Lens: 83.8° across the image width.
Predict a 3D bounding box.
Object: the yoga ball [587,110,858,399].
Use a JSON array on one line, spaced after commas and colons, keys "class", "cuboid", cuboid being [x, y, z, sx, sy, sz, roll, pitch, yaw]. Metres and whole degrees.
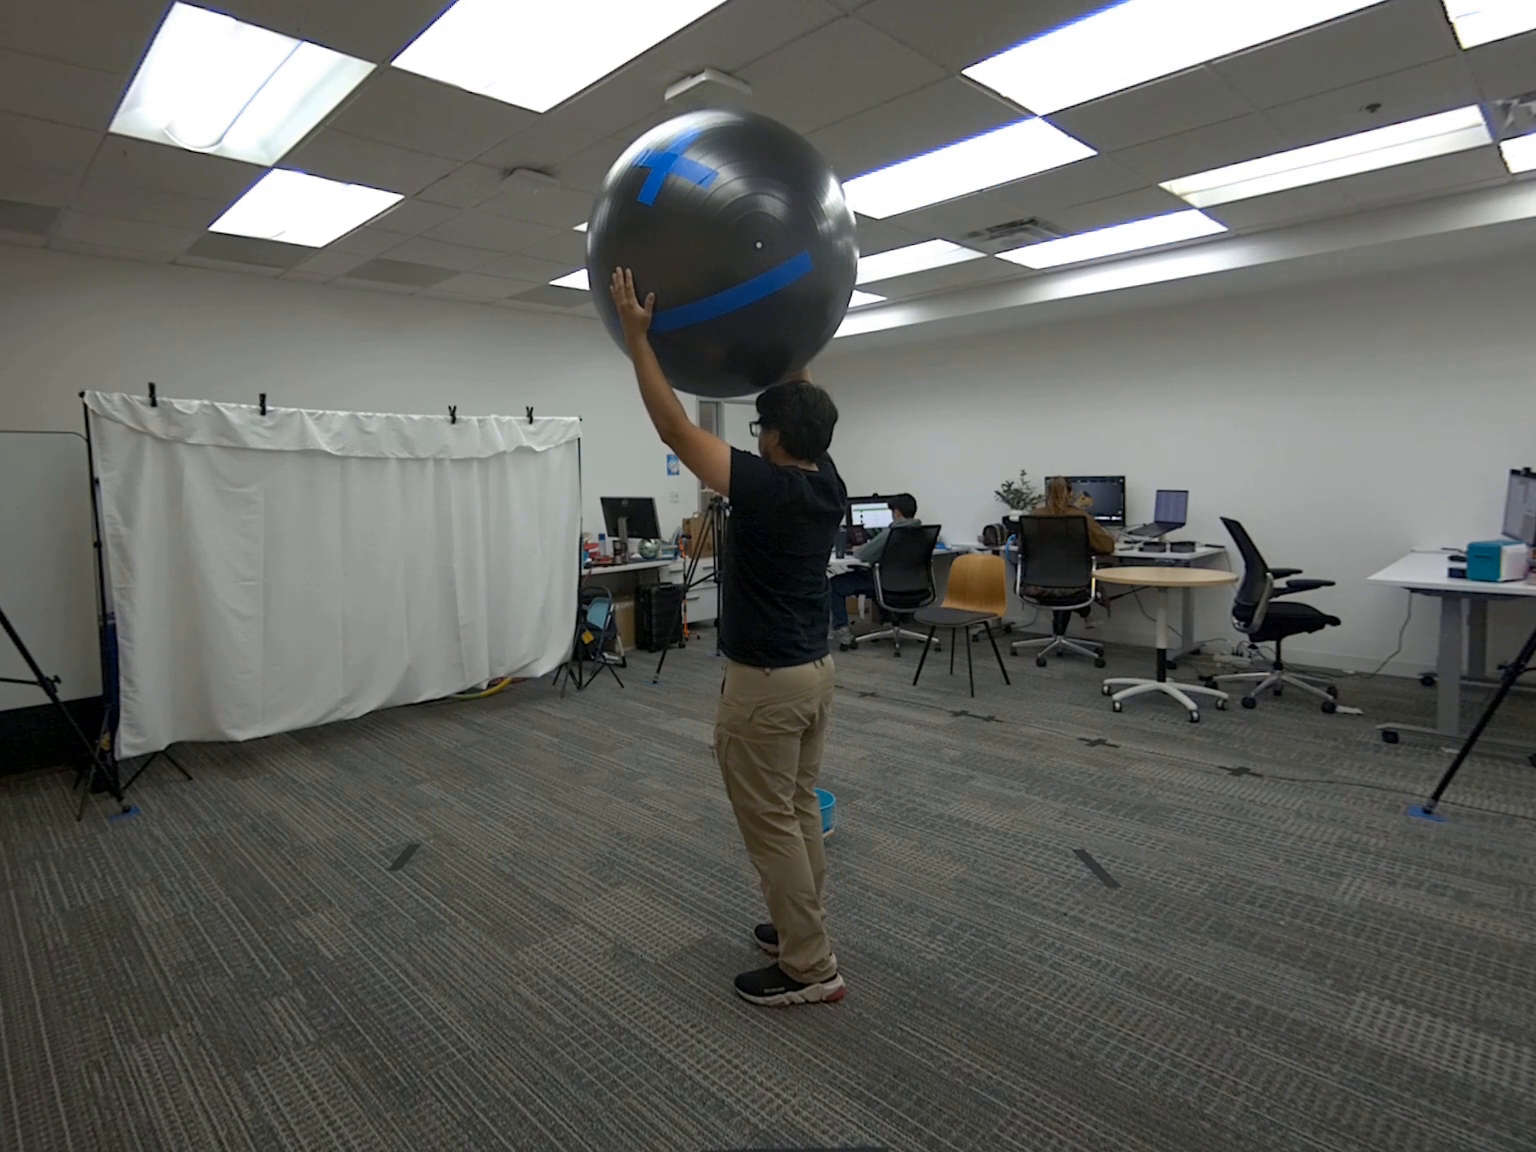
[{"class": "yoga ball", "cuboid": [-0.130, -0.876, 2.387, 0.757, 0.755, 0.762, -1, 5, -2]}]
